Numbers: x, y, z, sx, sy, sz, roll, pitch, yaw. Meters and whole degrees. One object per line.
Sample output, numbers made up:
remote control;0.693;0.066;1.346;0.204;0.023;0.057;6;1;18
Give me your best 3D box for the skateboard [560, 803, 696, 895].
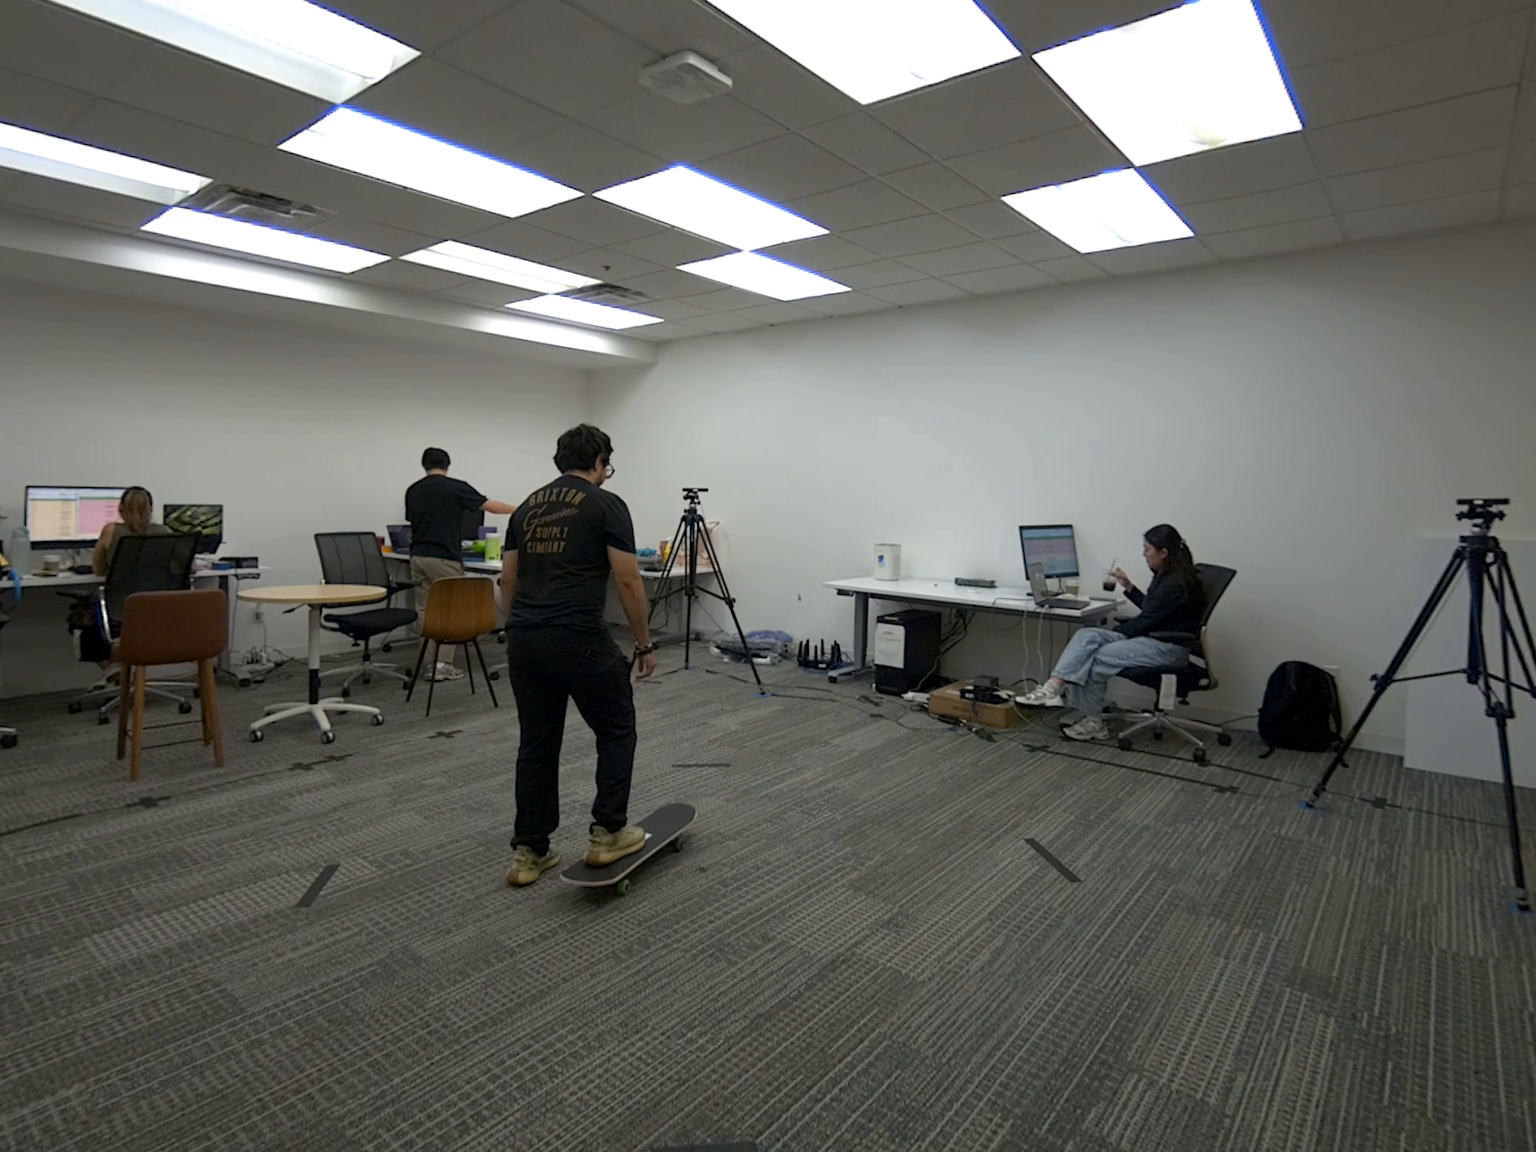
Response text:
skateboard;-0.501;1.012;3.117;0.198;0.110;0.769;1;5;22
